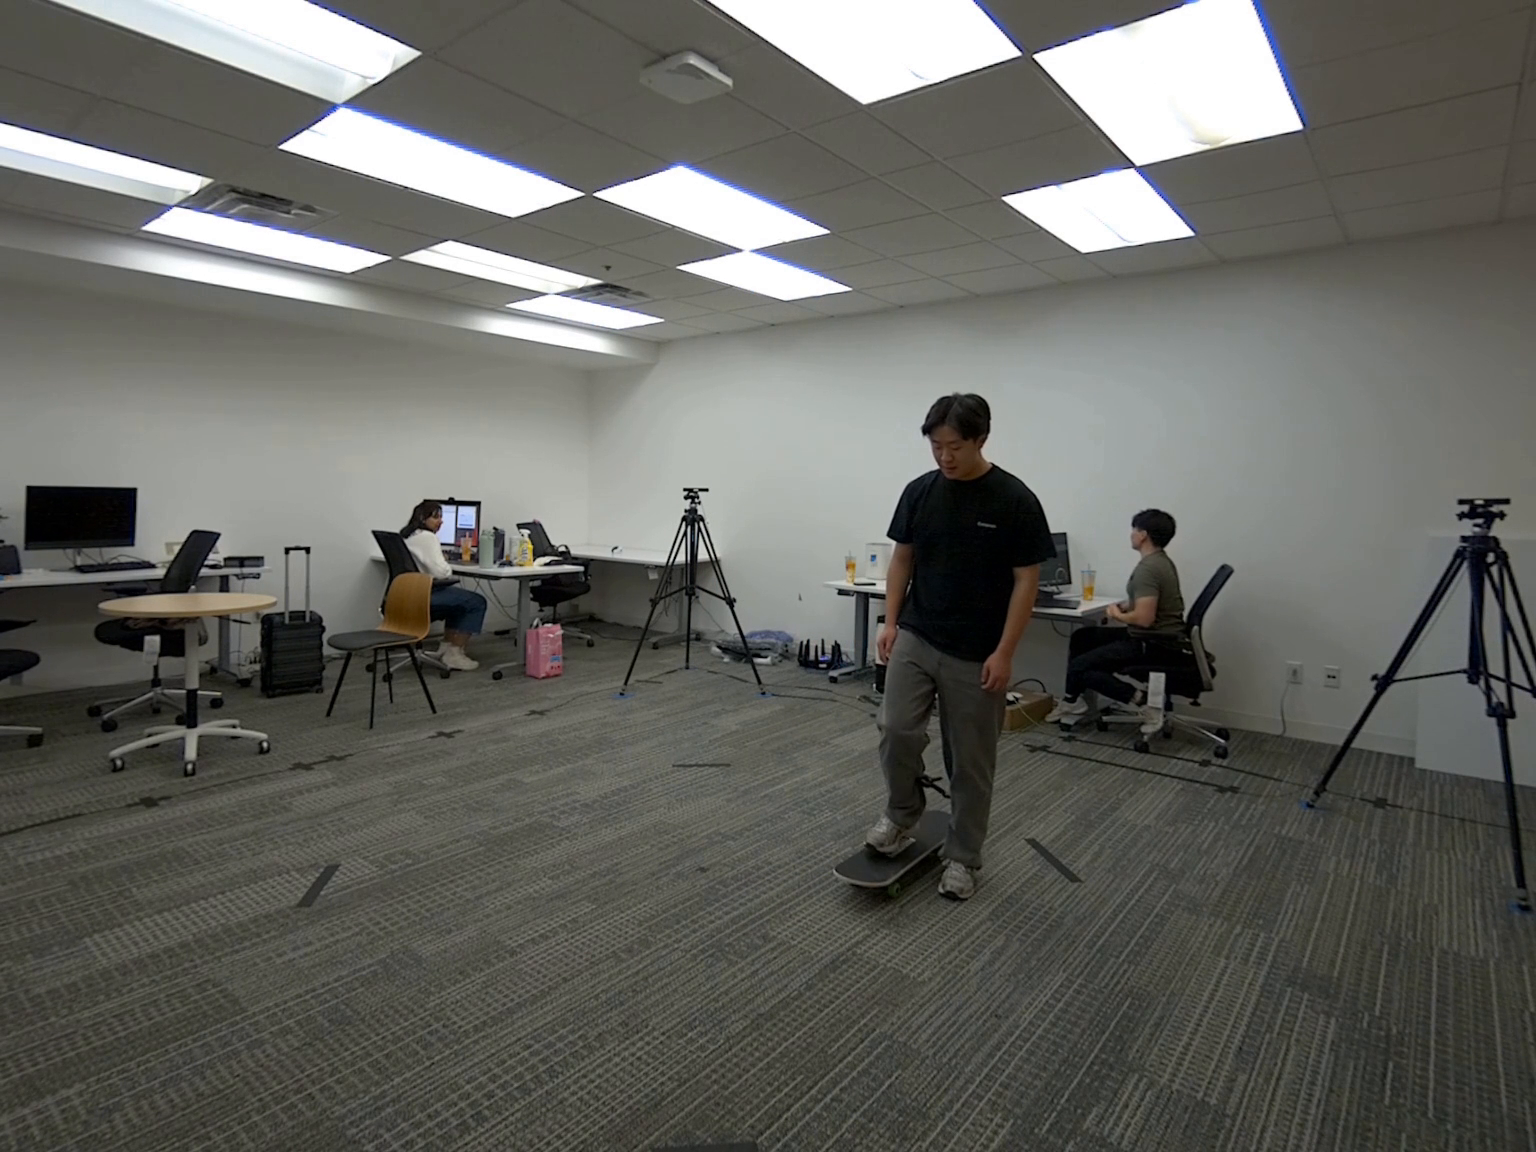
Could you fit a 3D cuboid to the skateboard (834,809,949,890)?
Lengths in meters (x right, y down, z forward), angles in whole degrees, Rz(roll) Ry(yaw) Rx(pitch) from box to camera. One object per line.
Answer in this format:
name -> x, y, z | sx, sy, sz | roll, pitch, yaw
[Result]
skateboard -> 0.478, 1.027, 3.131 | 0.200, 0.110, 0.763 | 5, 6, 35
